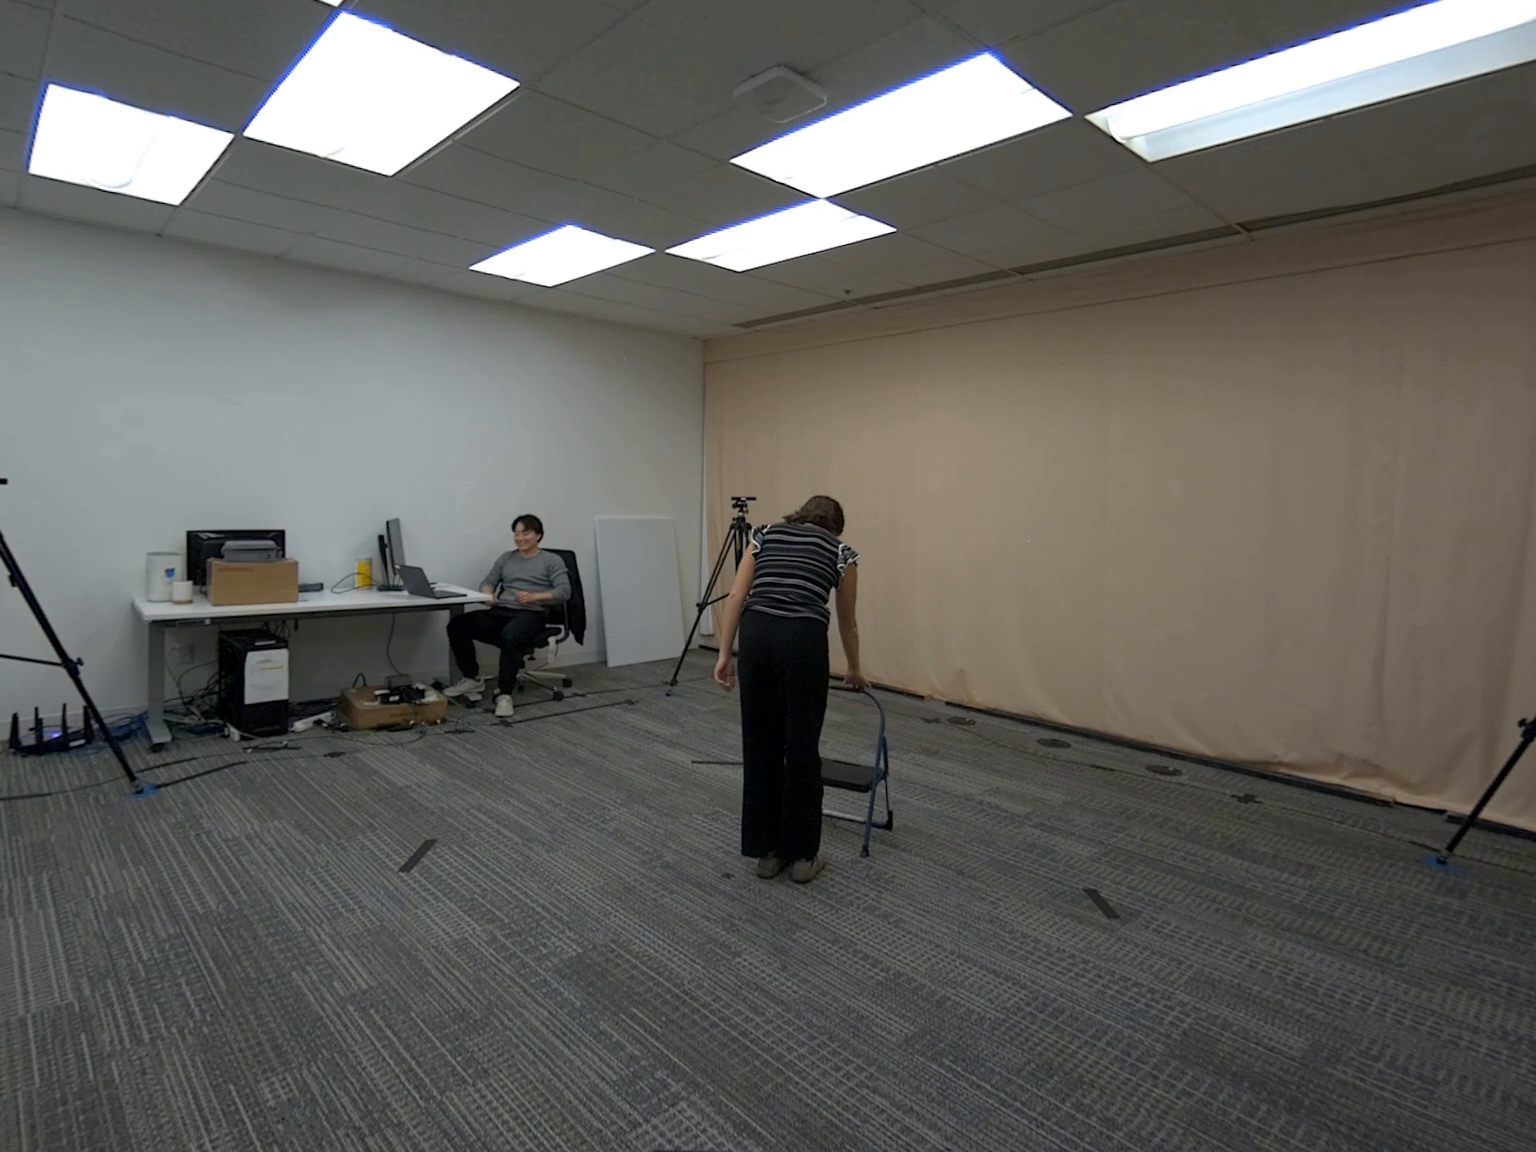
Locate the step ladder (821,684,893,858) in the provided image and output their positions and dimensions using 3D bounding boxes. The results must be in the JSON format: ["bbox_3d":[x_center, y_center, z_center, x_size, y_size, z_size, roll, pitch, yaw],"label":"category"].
[{"bbox_3d":[0.278,0.776,3.534,0.440,0.605,0.343,4,4,28],"label":"step ladder"}]
